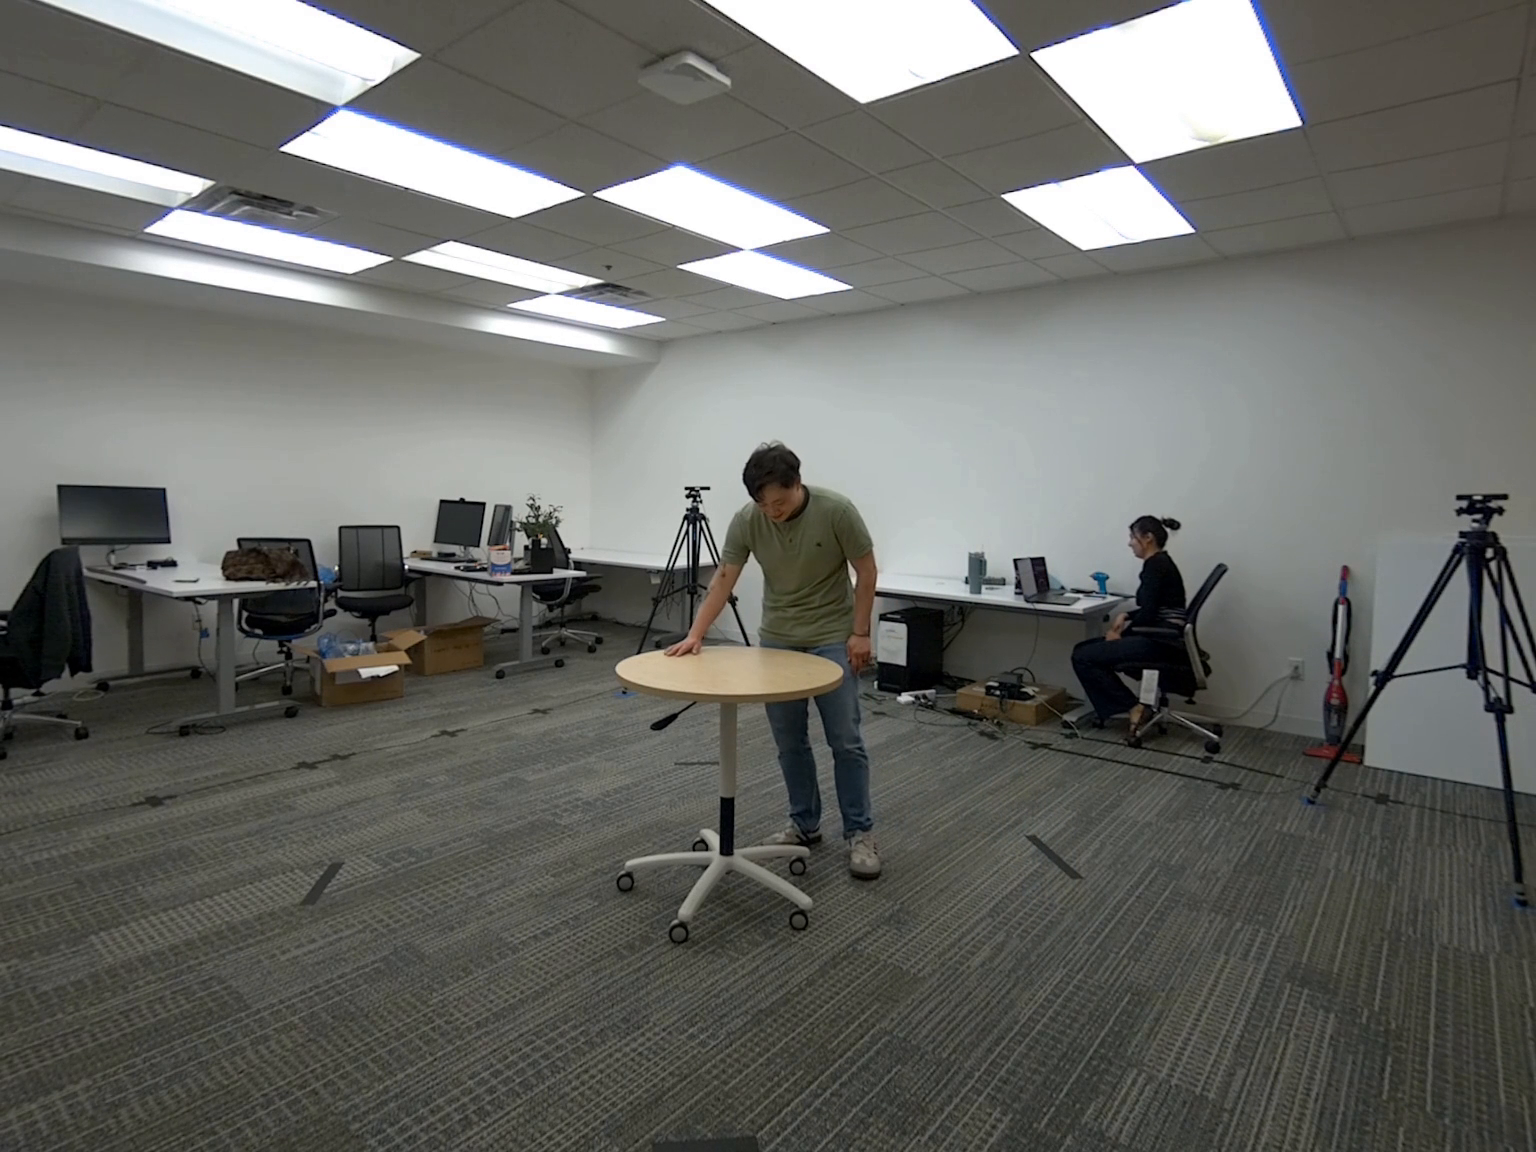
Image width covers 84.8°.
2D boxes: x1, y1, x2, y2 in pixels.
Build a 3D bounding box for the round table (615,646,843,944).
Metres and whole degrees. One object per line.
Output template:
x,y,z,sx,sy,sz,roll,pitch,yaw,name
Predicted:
-0.149,0.700,2.890,0.763,0.791,0.768,1,4,-2,round table
